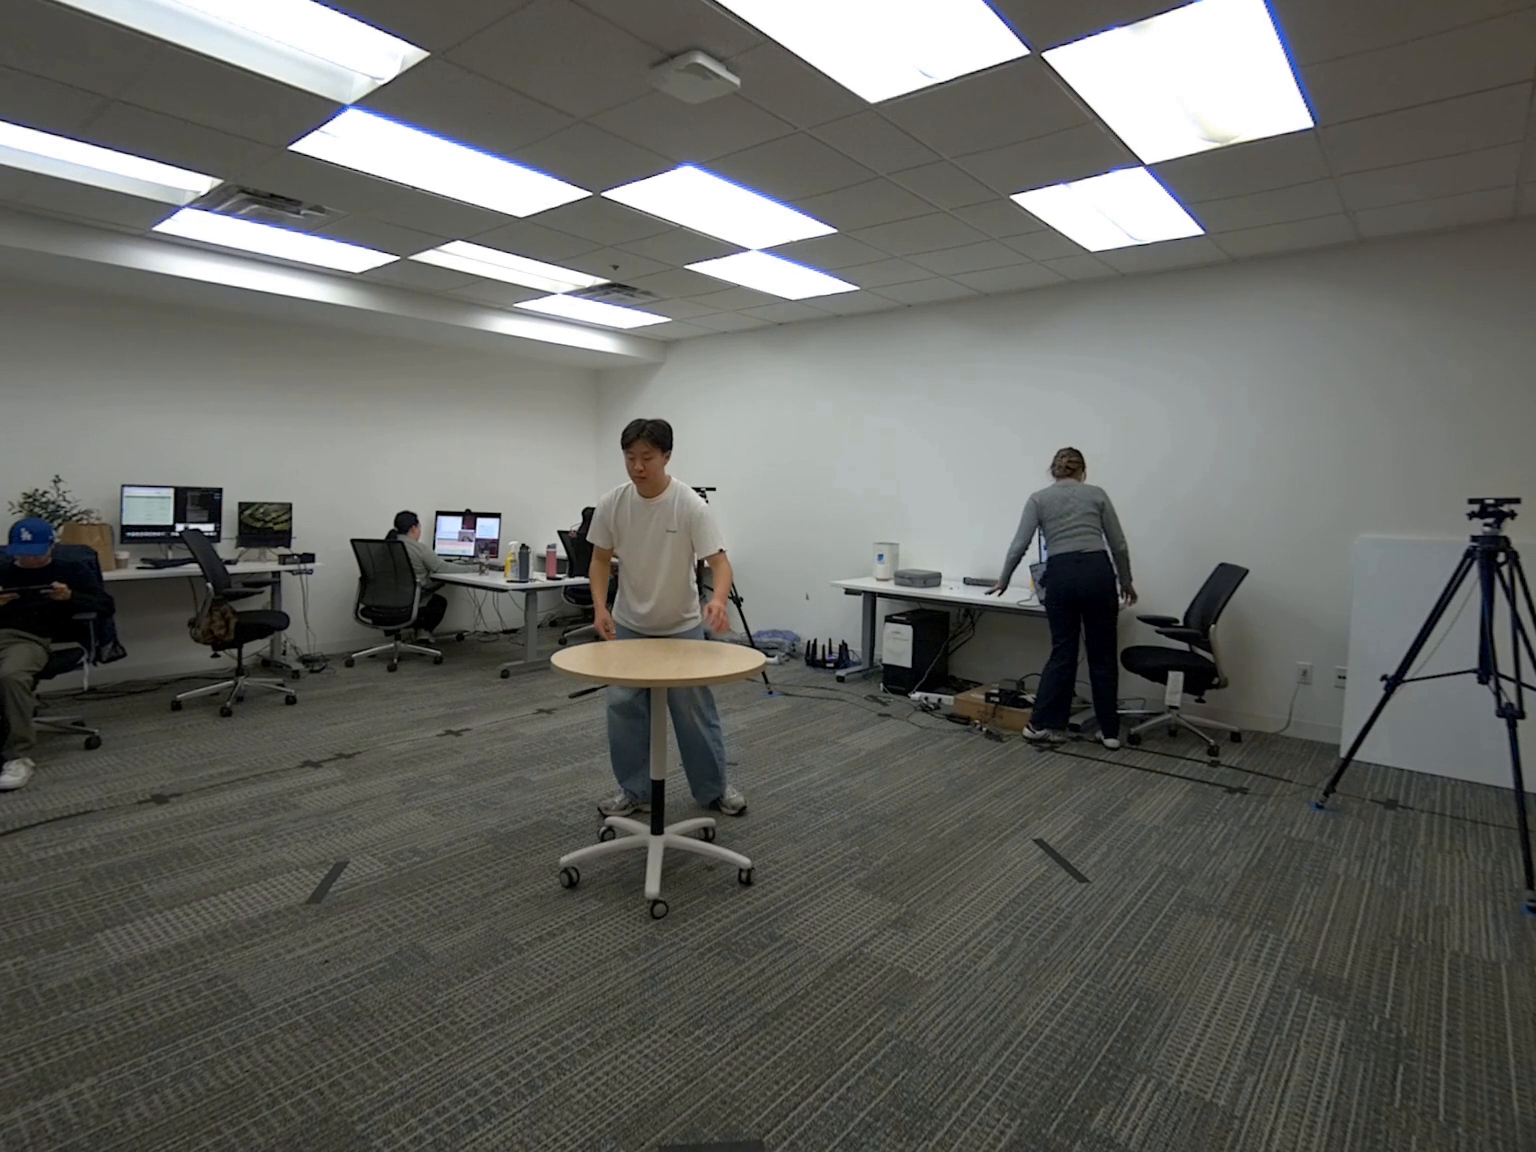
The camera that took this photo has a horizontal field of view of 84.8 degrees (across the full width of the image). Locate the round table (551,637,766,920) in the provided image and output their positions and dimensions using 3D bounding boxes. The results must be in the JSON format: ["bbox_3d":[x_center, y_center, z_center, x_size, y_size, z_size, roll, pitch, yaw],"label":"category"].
[{"bbox_3d":[-0.408,0.670,3.072,0.784,0.784,0.789,1,4,-2],"label":"round table"}]
